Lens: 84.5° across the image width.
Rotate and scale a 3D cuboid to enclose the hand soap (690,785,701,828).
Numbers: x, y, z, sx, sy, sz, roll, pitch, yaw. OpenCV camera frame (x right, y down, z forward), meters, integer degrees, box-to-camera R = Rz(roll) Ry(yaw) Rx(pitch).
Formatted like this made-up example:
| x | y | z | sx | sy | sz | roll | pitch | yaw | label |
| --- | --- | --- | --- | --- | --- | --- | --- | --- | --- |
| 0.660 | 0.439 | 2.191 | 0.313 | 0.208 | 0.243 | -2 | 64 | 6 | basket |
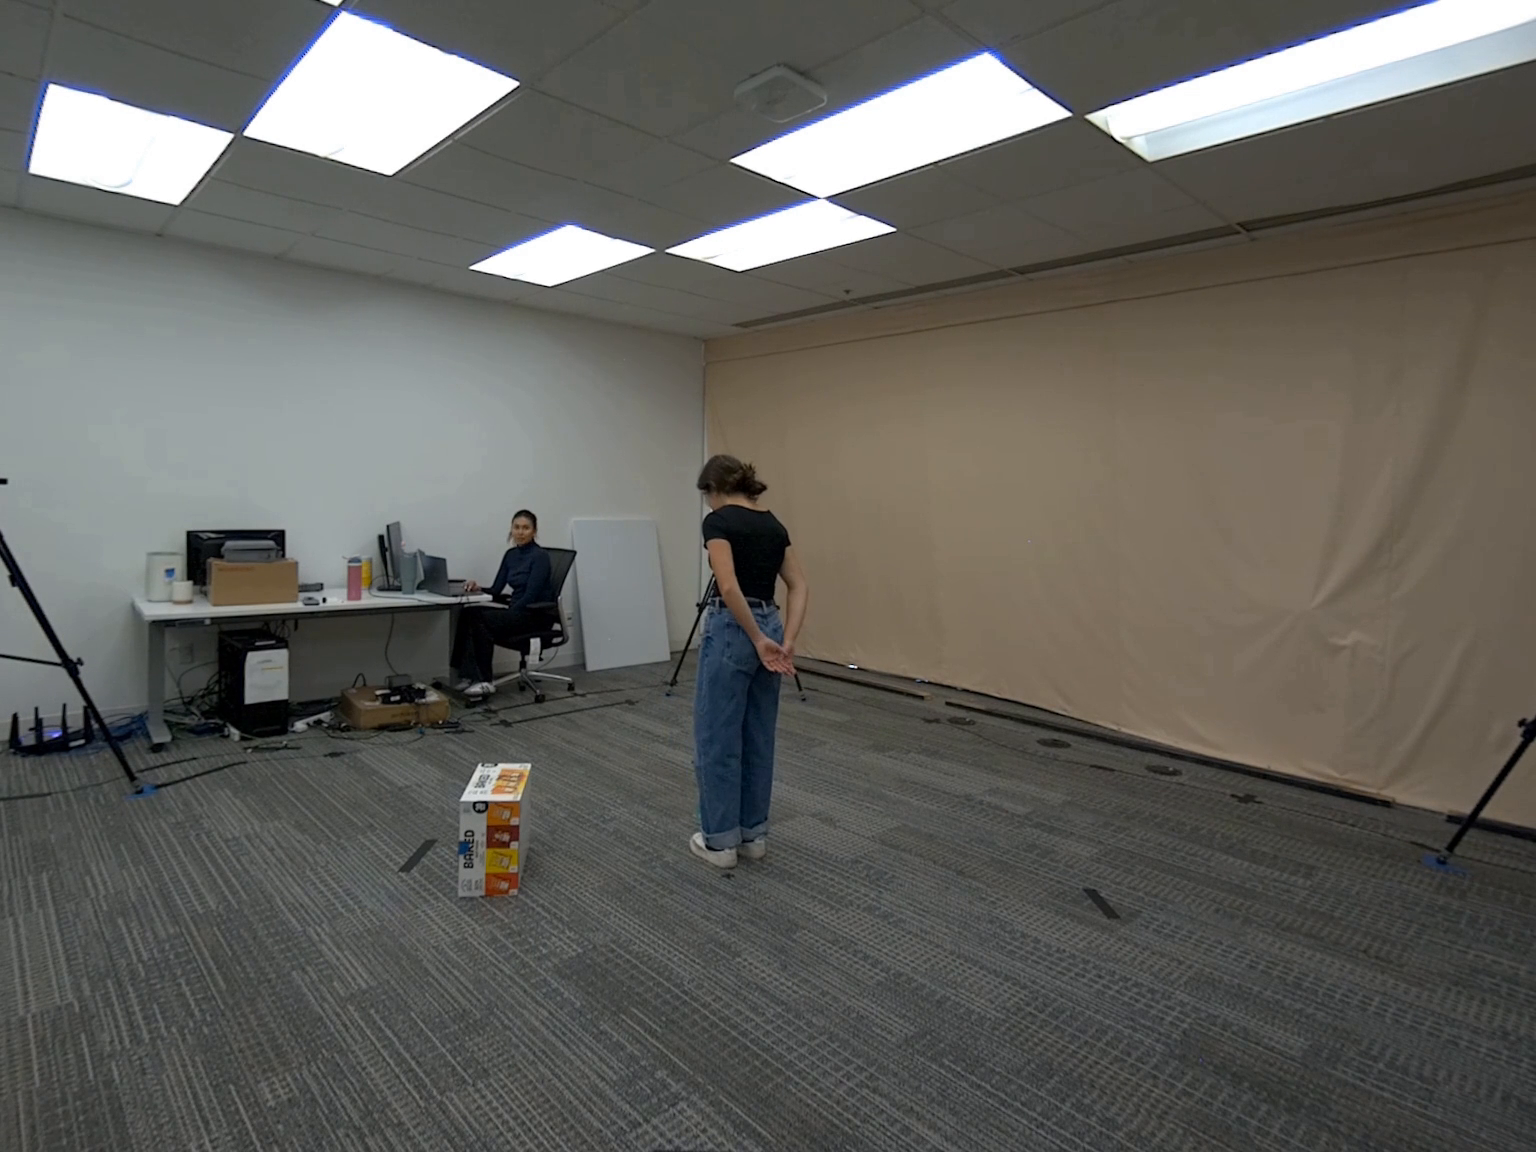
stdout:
| x | y | z | sx | sy | sz | roll | pitch | yaw | label |
| --- | --- | --- | --- | --- | --- | --- | --- | --- | --- |
| -0.282 | 0.982 | 3.603 | 0.085 | 0.167 | 0.043 | -1 | 7 | 13 | hand soap |
